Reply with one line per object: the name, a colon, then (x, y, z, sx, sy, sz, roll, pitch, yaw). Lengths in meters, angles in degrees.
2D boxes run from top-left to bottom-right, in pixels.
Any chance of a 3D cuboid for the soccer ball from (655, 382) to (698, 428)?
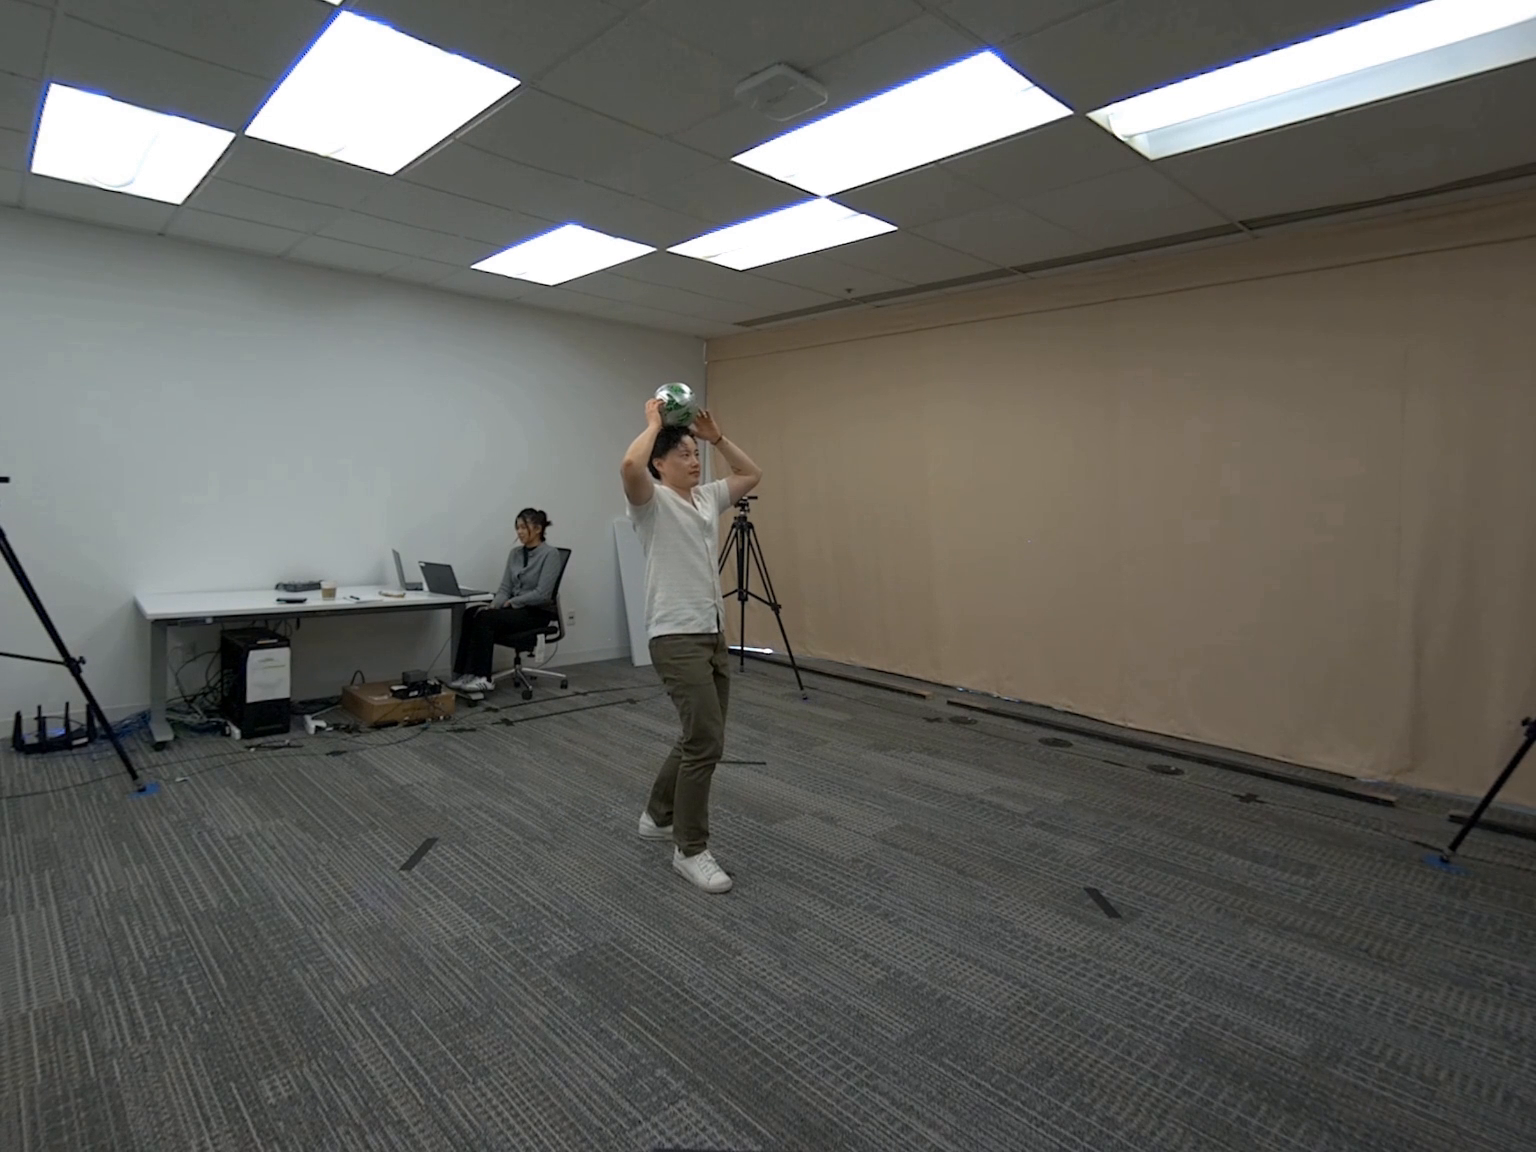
soccer ball: (-0.375, -0.662, 3.293, 0.187, 0.187, 0.188, 1, 4, -1)
